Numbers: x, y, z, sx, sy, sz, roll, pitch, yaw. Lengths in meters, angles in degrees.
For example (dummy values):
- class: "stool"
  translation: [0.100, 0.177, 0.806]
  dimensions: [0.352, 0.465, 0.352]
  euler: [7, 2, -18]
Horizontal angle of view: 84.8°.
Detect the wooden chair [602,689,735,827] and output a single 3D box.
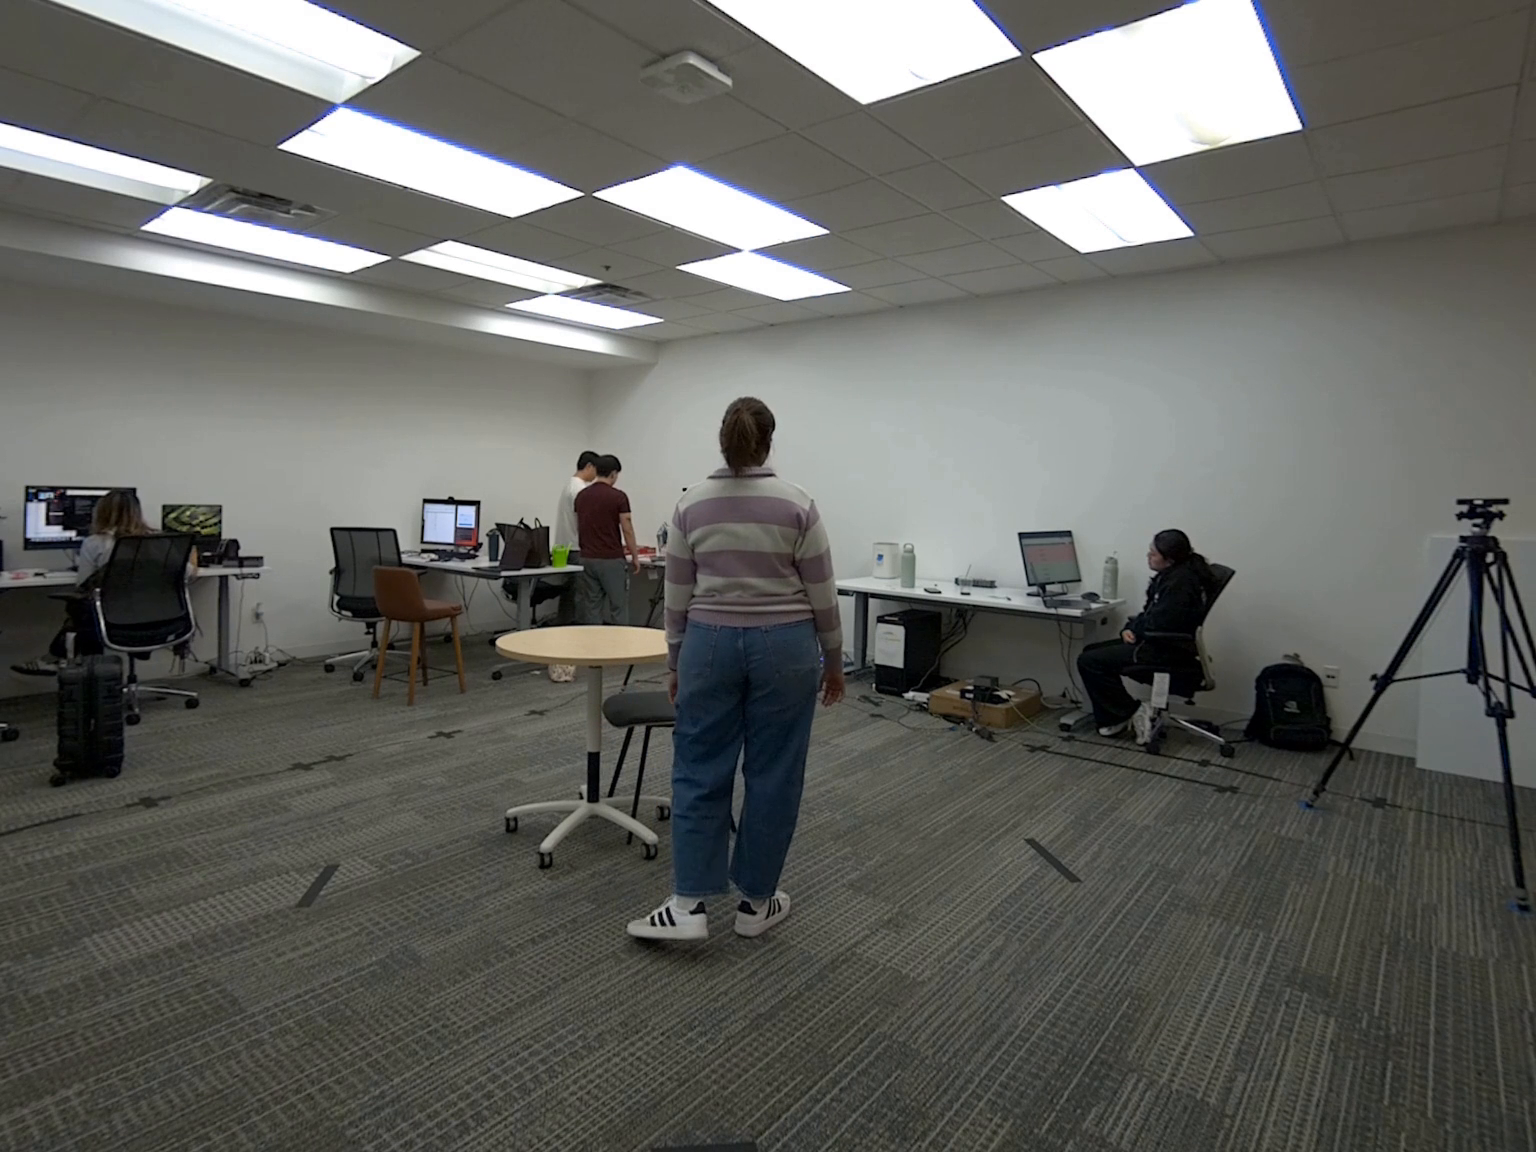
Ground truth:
- class: "wooden chair"
  translation: [-0.430, 0.592, 3.550]
  dimensions: [0.512, 0.875, 0.490]
  euler: [4, 3, -21]
